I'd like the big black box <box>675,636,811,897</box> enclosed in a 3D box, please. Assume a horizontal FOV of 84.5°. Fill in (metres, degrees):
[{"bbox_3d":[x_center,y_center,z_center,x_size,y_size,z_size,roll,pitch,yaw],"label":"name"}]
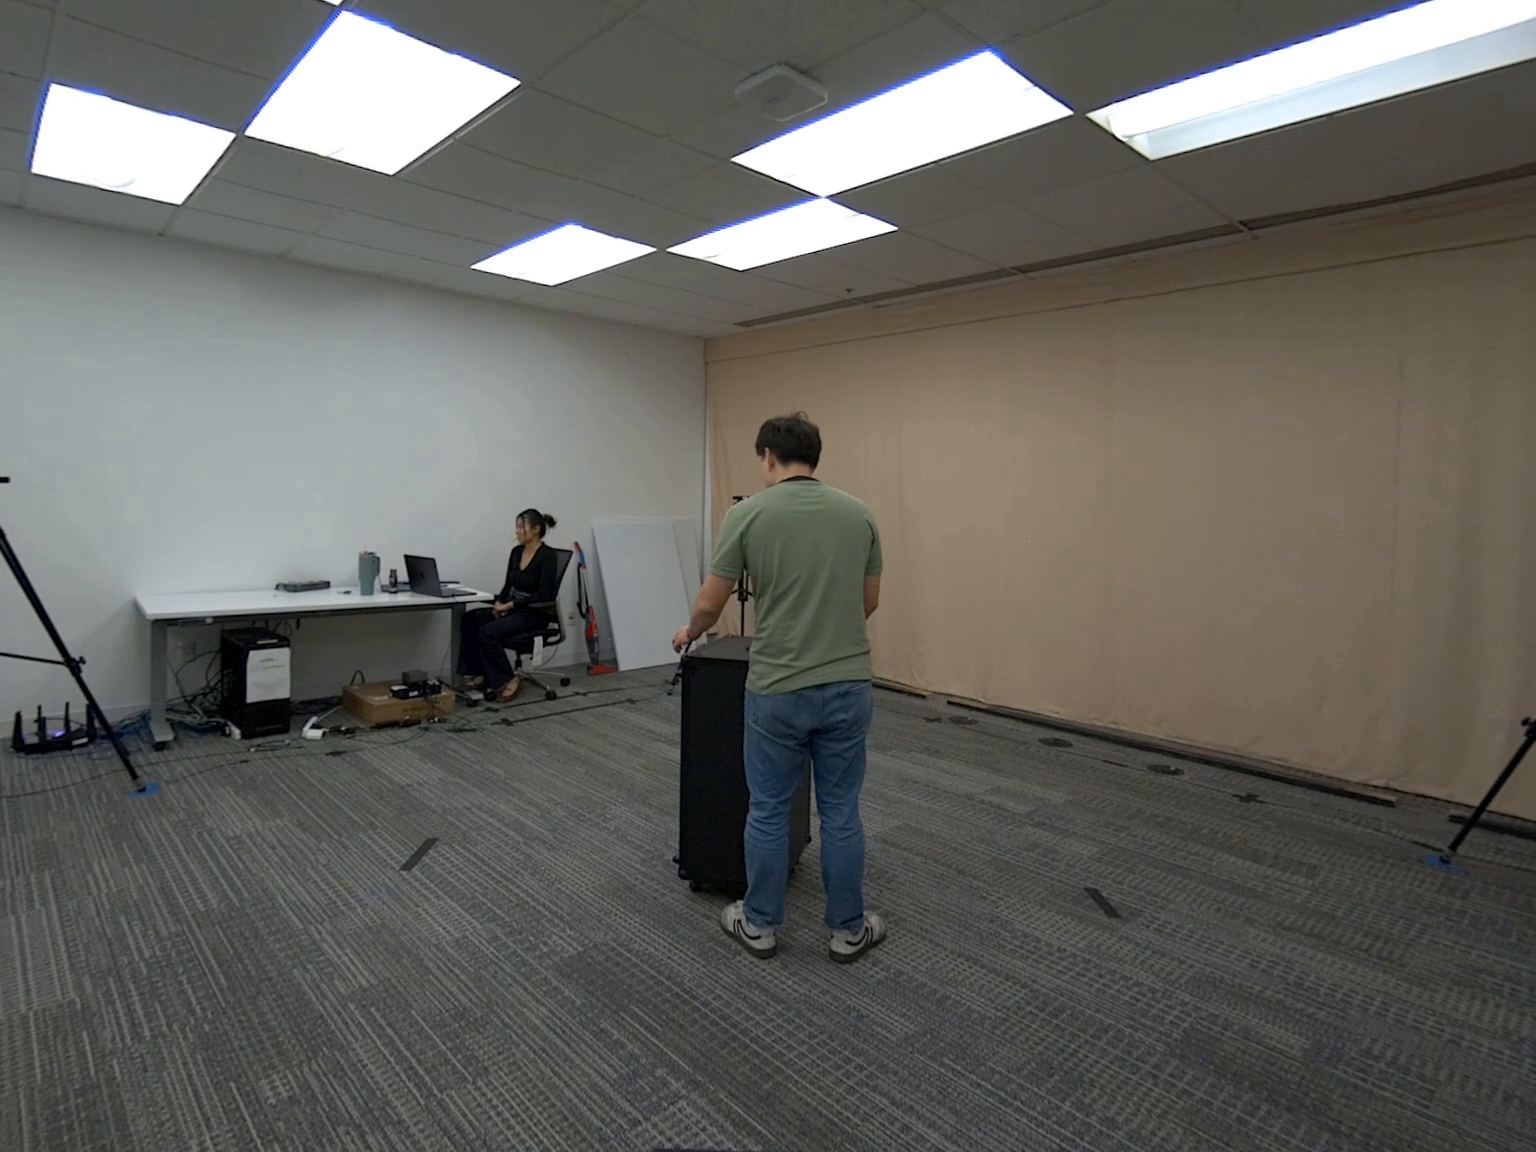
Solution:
[{"bbox_3d":[-0.092,0.684,3.063,0.402,0.860,0.515,2,3,16],"label":"big black box"}]
